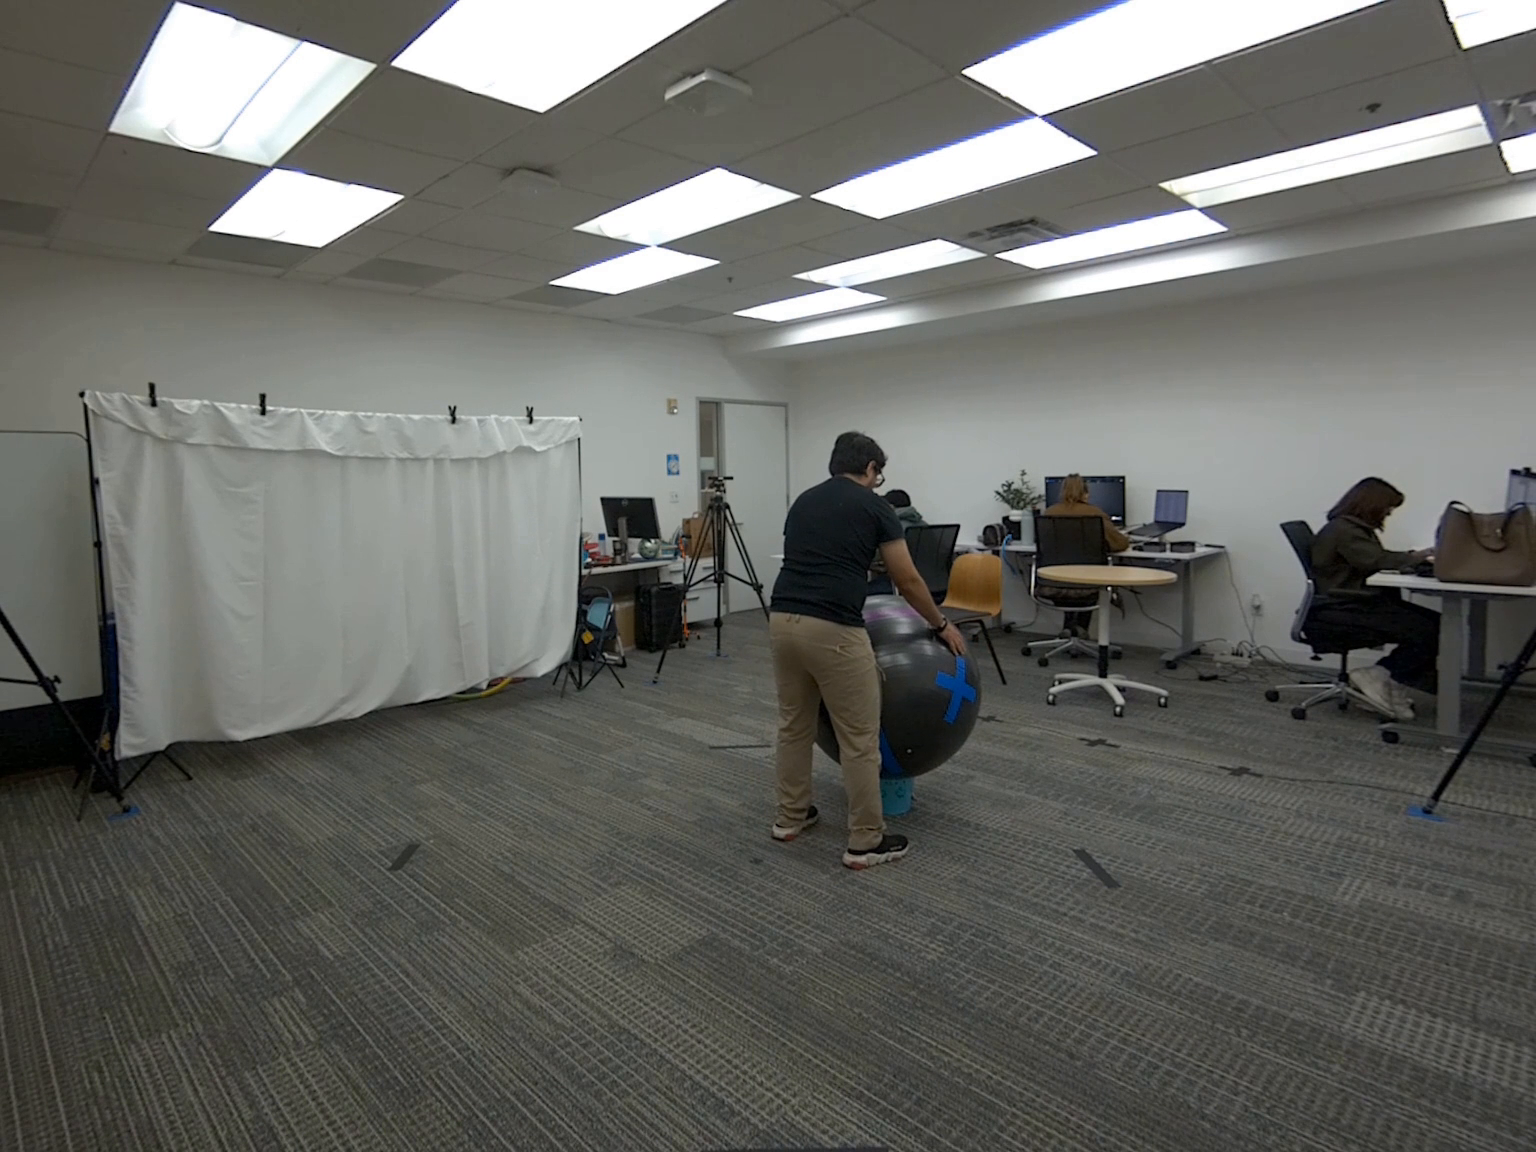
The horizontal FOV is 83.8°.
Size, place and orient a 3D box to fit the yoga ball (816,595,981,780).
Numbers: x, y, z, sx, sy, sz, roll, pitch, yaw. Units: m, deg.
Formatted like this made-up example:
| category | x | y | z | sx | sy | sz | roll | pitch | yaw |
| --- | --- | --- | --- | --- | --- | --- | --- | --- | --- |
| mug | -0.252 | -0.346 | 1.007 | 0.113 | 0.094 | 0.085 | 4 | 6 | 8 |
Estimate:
| category | x | y | z | sx | sy | sz | roll | pitch | yaw |
| --- | --- | --- | --- | --- | --- | --- | --- | --- | --- |
| yoga ball | 0.500 | 0.466 | 3.569 | 0.757 | 0.755 | 0.762 | -1 | 5 | -2 |
